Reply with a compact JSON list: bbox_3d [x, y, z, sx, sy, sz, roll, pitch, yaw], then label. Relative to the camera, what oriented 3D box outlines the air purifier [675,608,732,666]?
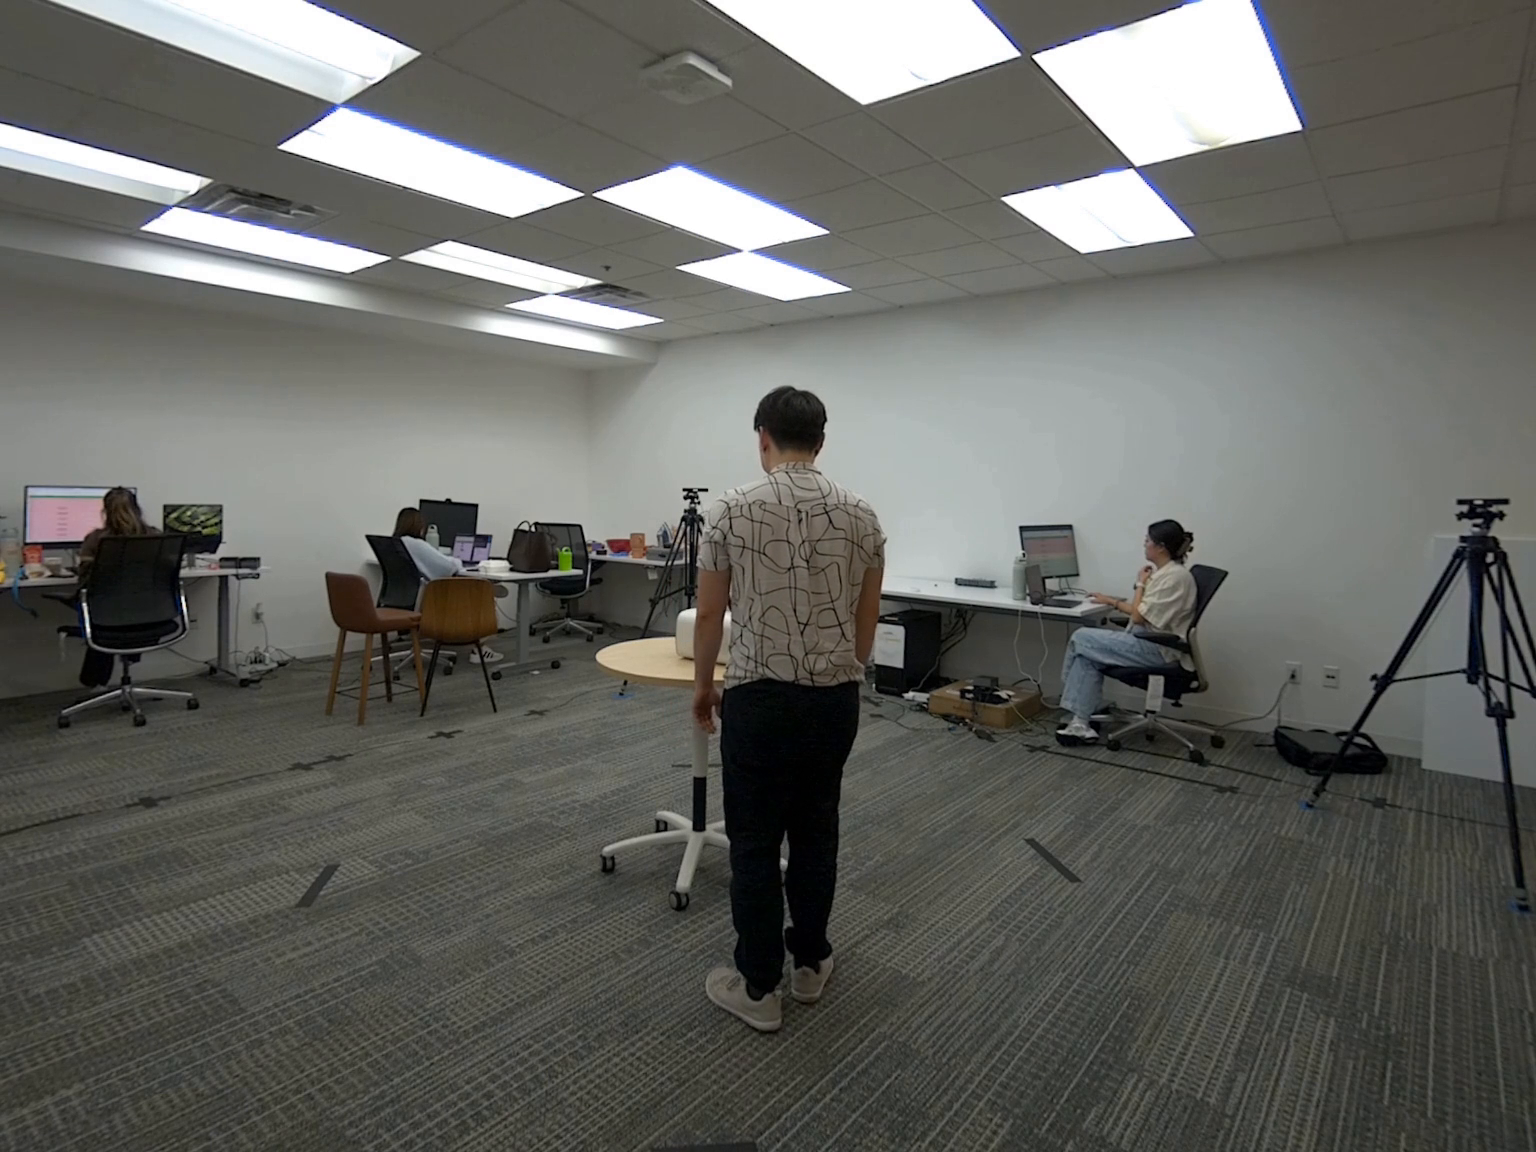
[{"bbox_3d":[-0.177,0.207,3.004,0.274,0.171,0.166,5,5,33],"label":"air purifier"}]
